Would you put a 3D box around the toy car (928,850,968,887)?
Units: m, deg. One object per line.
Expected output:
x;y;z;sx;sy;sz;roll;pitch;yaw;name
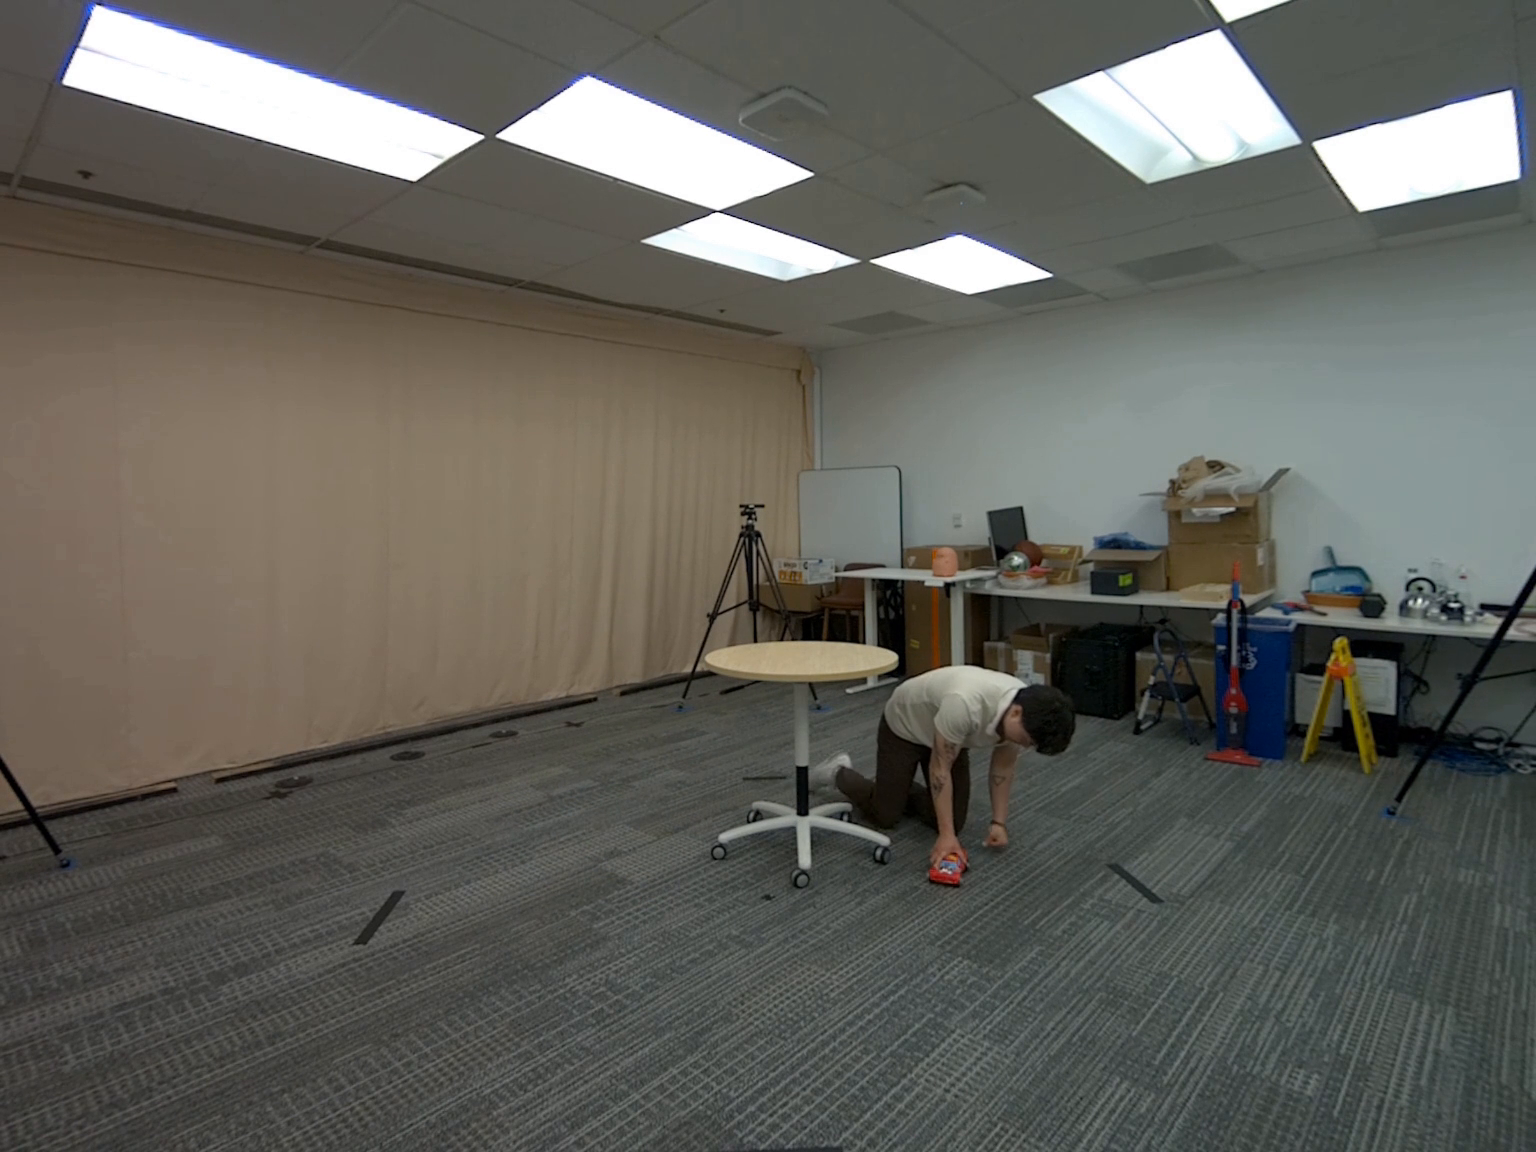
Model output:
0.681;1.081;3.150;0.133;0.082;0.251;1;16;22;toy car
